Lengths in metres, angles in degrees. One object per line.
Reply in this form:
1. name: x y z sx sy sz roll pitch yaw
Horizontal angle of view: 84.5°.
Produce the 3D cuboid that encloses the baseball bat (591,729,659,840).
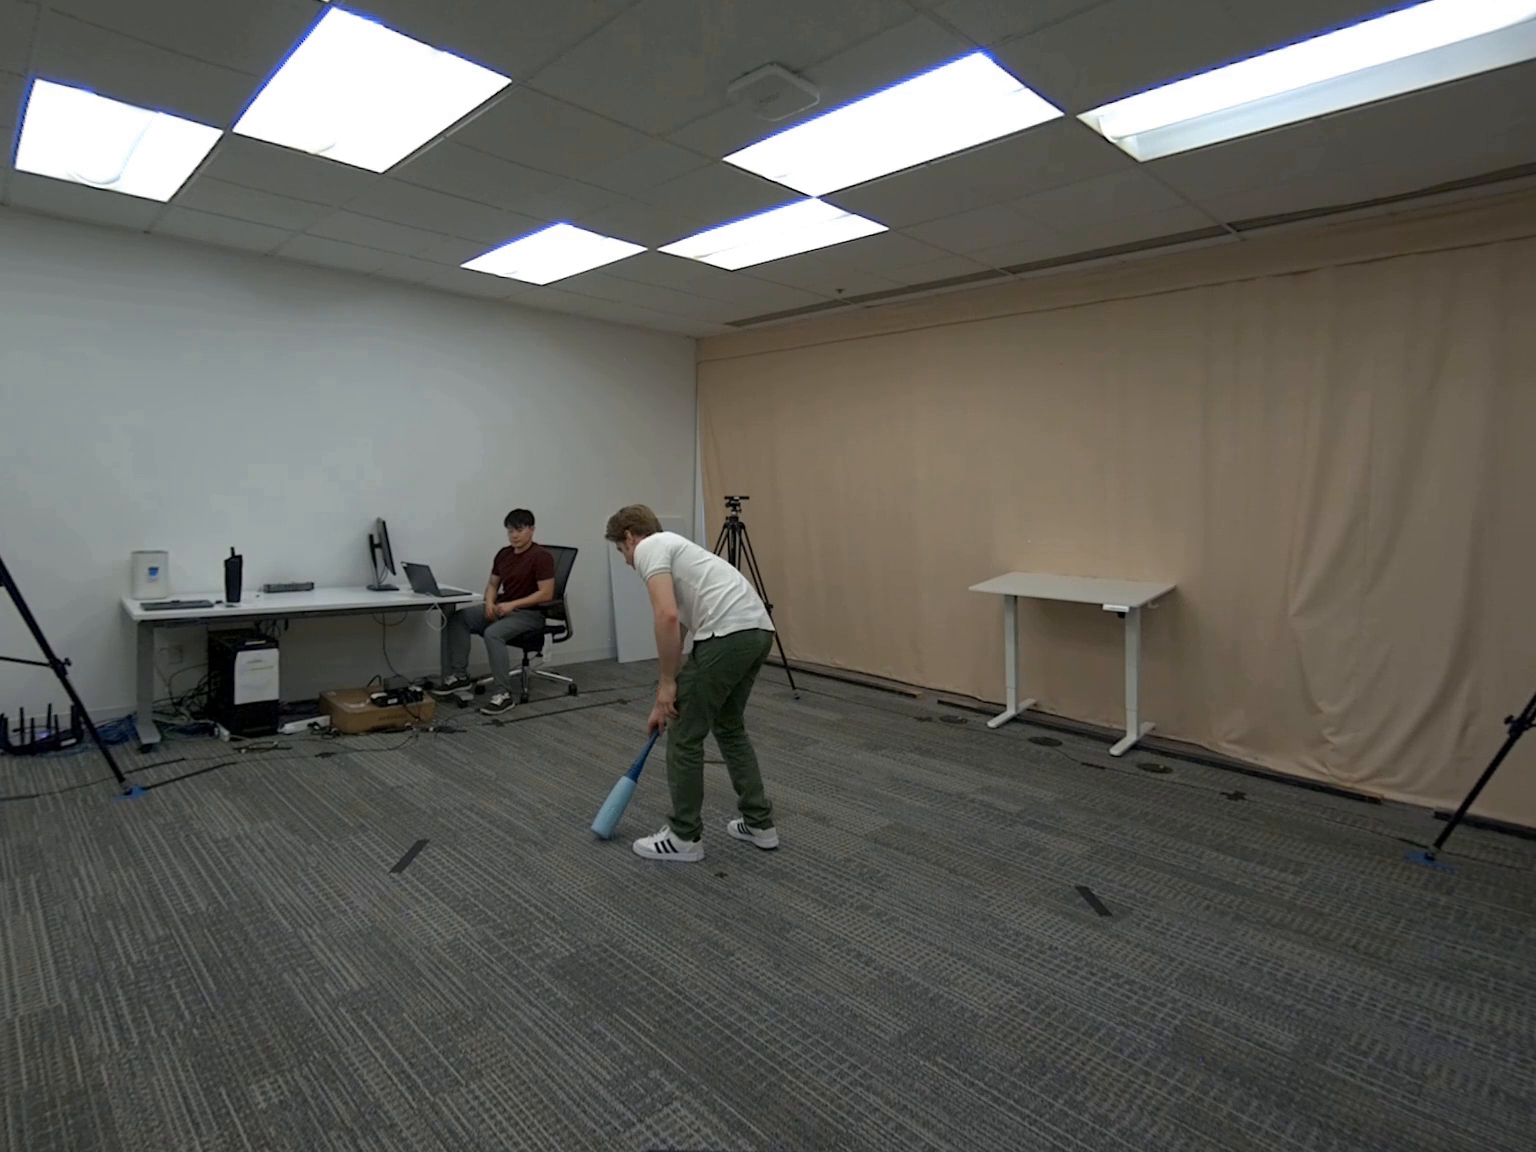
1. baseball bat: -0.570 0.835 3.510 0.090 0.546 0.087 23 -30 13
